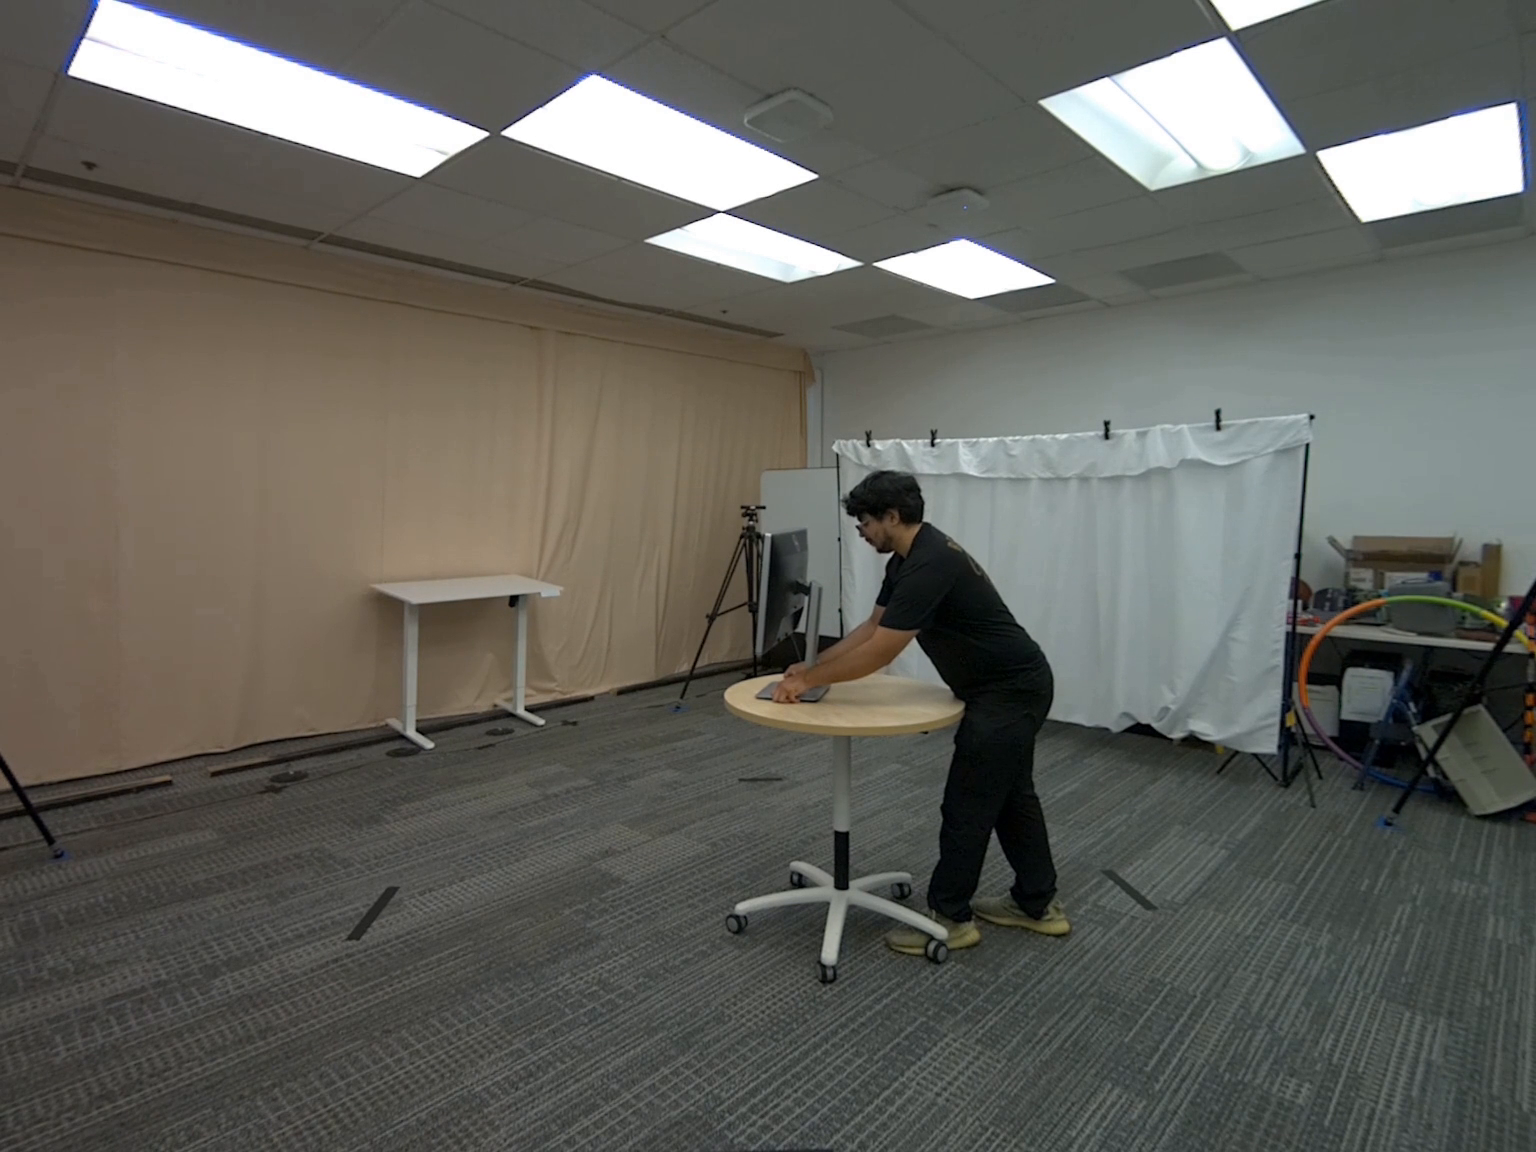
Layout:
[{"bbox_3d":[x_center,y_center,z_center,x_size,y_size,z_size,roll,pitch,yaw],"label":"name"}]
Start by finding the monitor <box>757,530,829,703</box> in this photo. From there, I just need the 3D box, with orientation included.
[{"bbox_3d":[0.114,0.124,2.743,0.214,0.552,0.557,2,5,14],"label":"monitor"}]
